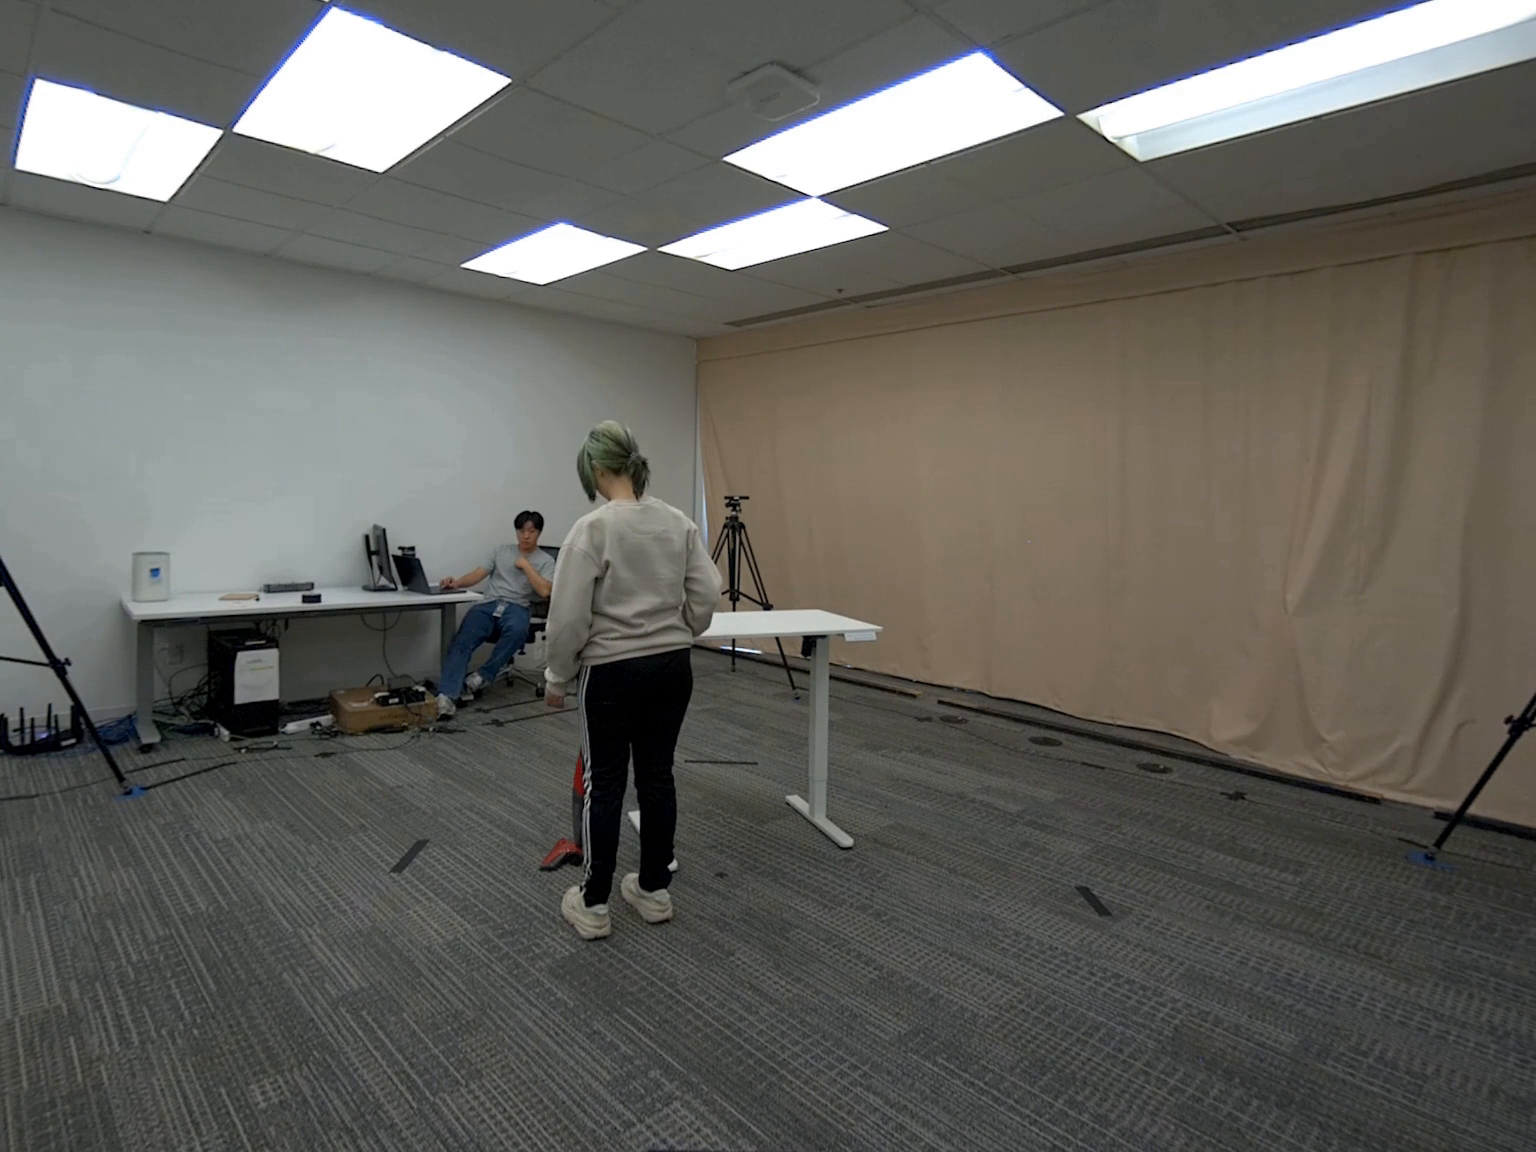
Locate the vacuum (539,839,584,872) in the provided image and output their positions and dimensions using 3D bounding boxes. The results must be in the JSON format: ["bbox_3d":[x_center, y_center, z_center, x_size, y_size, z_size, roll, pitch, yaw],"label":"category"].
[{"bbox_3d":[-0.637,0.586,3.171,0.144,1.046,0.253,16,5,1],"label":"vacuum"}]
